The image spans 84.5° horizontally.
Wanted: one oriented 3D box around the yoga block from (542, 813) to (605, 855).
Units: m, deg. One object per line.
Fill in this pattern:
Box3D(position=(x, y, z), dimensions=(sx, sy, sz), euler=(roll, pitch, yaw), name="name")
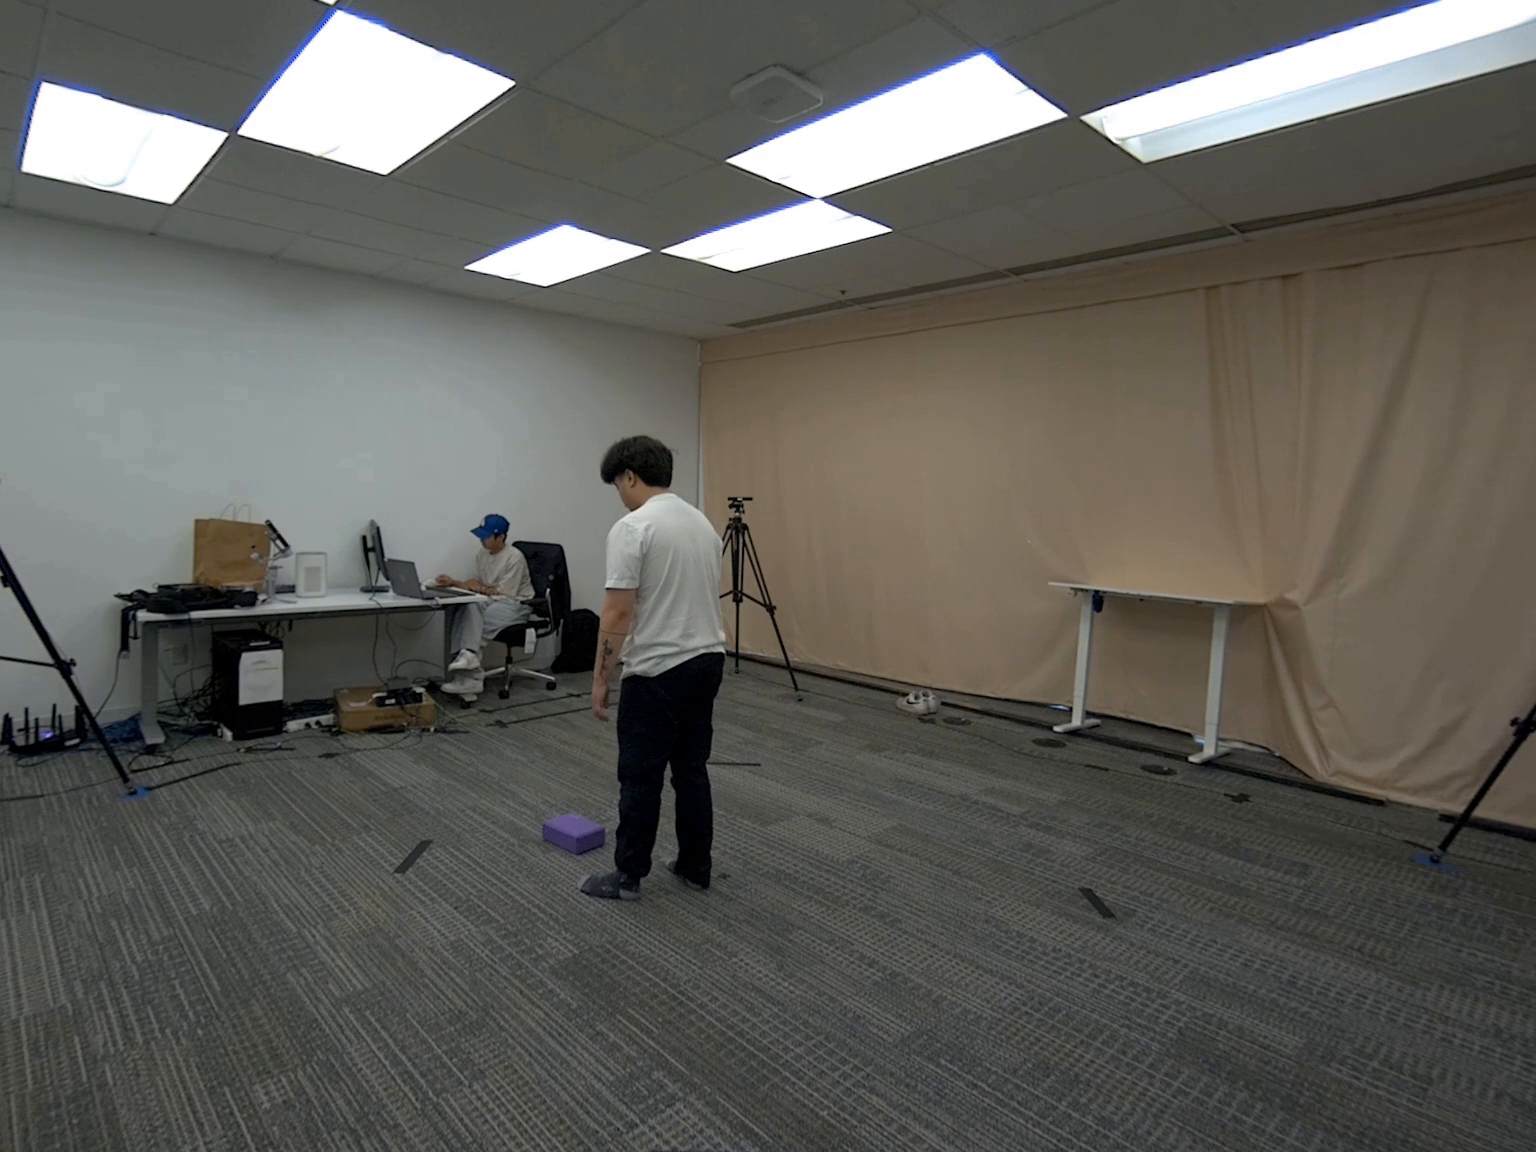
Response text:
Box3D(position=(-0.788, 1.032, 3.373), dimensions=(0.235, 0.076, 0.146), euler=(5, 7, 39), name="yoga block")
